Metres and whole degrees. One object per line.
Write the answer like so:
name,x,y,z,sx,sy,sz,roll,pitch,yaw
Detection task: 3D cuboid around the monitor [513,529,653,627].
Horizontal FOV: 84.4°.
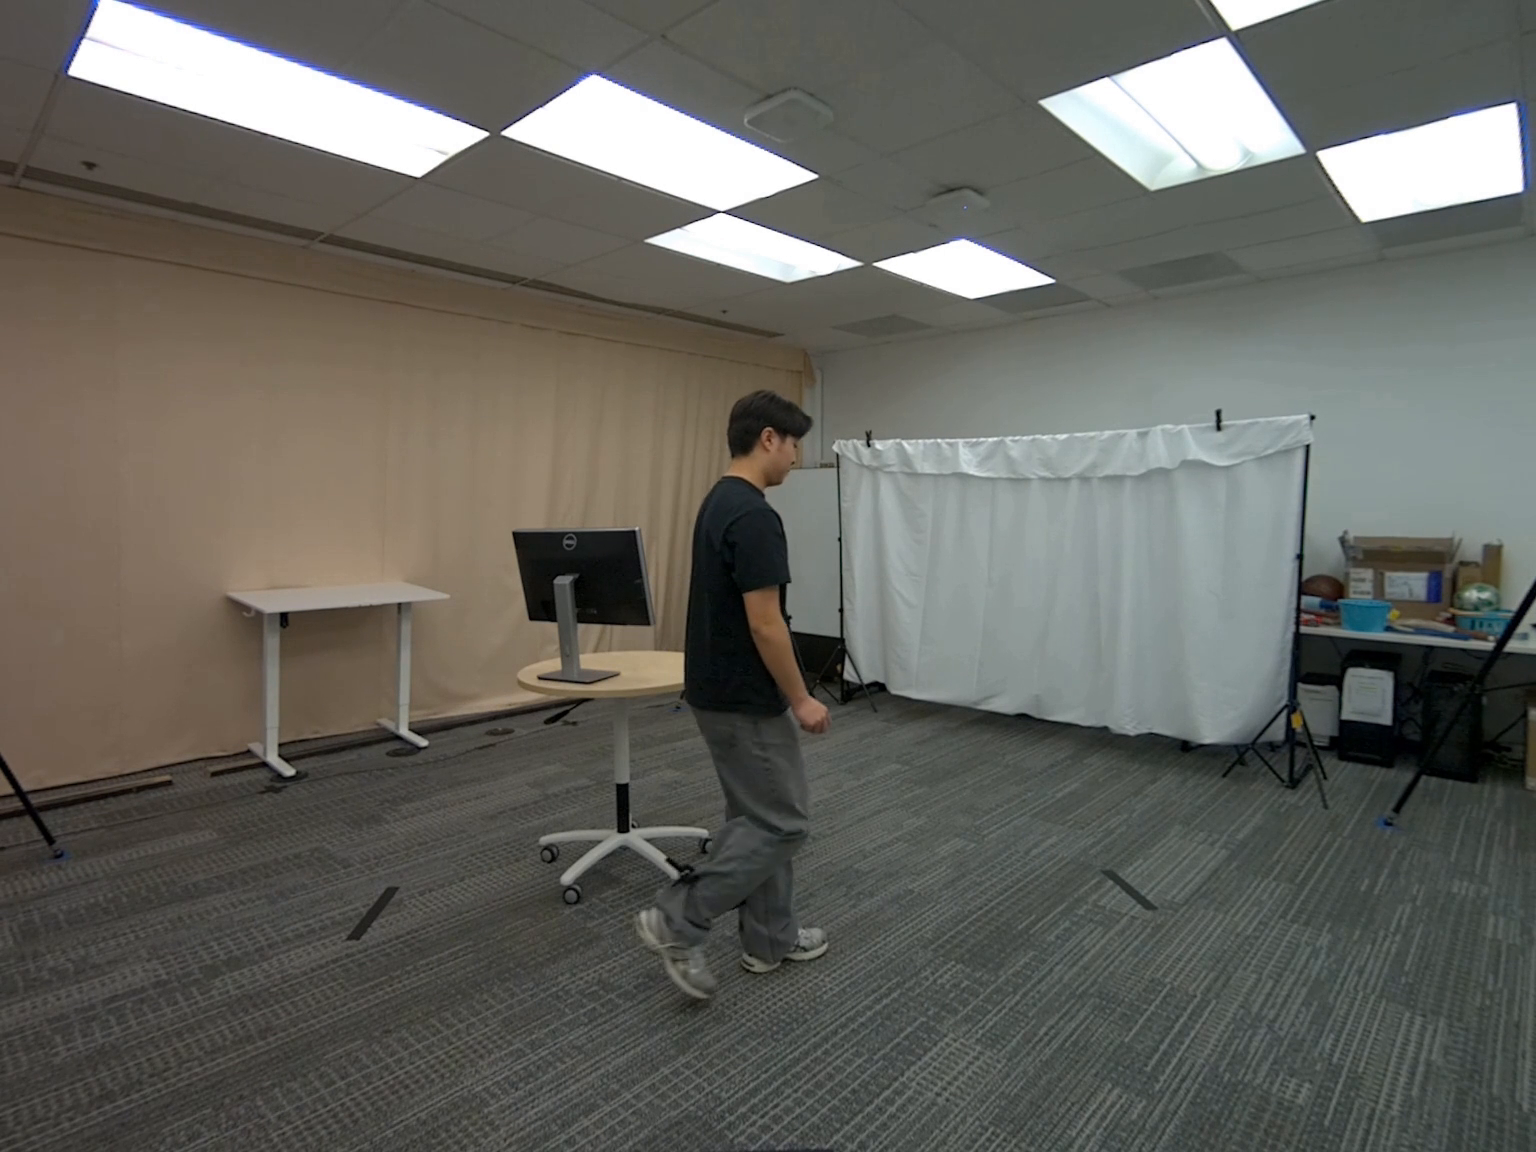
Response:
monitor,-0.693,0.109,3.069,0.577,0.565,0.216,1,1,29
